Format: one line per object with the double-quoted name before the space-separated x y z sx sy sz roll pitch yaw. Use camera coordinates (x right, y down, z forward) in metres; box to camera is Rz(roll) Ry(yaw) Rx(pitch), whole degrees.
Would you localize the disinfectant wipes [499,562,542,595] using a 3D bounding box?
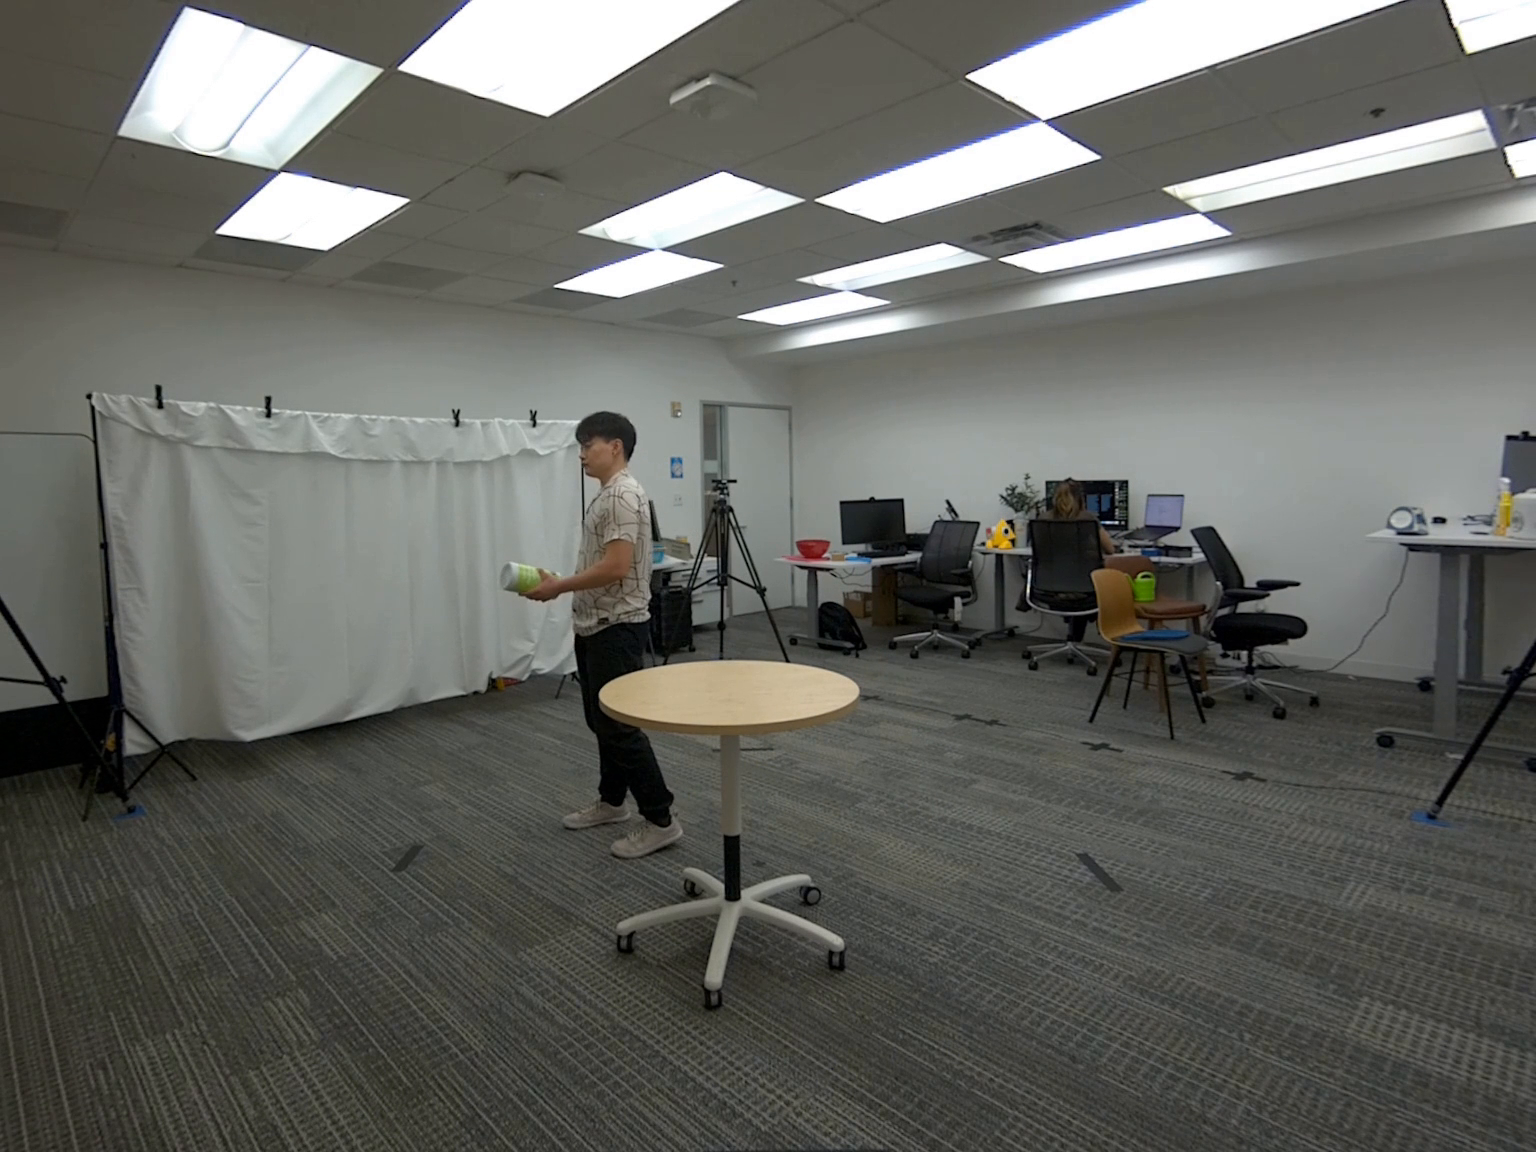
"disinfectant wipes" -0.886 0.021 3.238 0.210 0.118 0.121 15 -6 -38
